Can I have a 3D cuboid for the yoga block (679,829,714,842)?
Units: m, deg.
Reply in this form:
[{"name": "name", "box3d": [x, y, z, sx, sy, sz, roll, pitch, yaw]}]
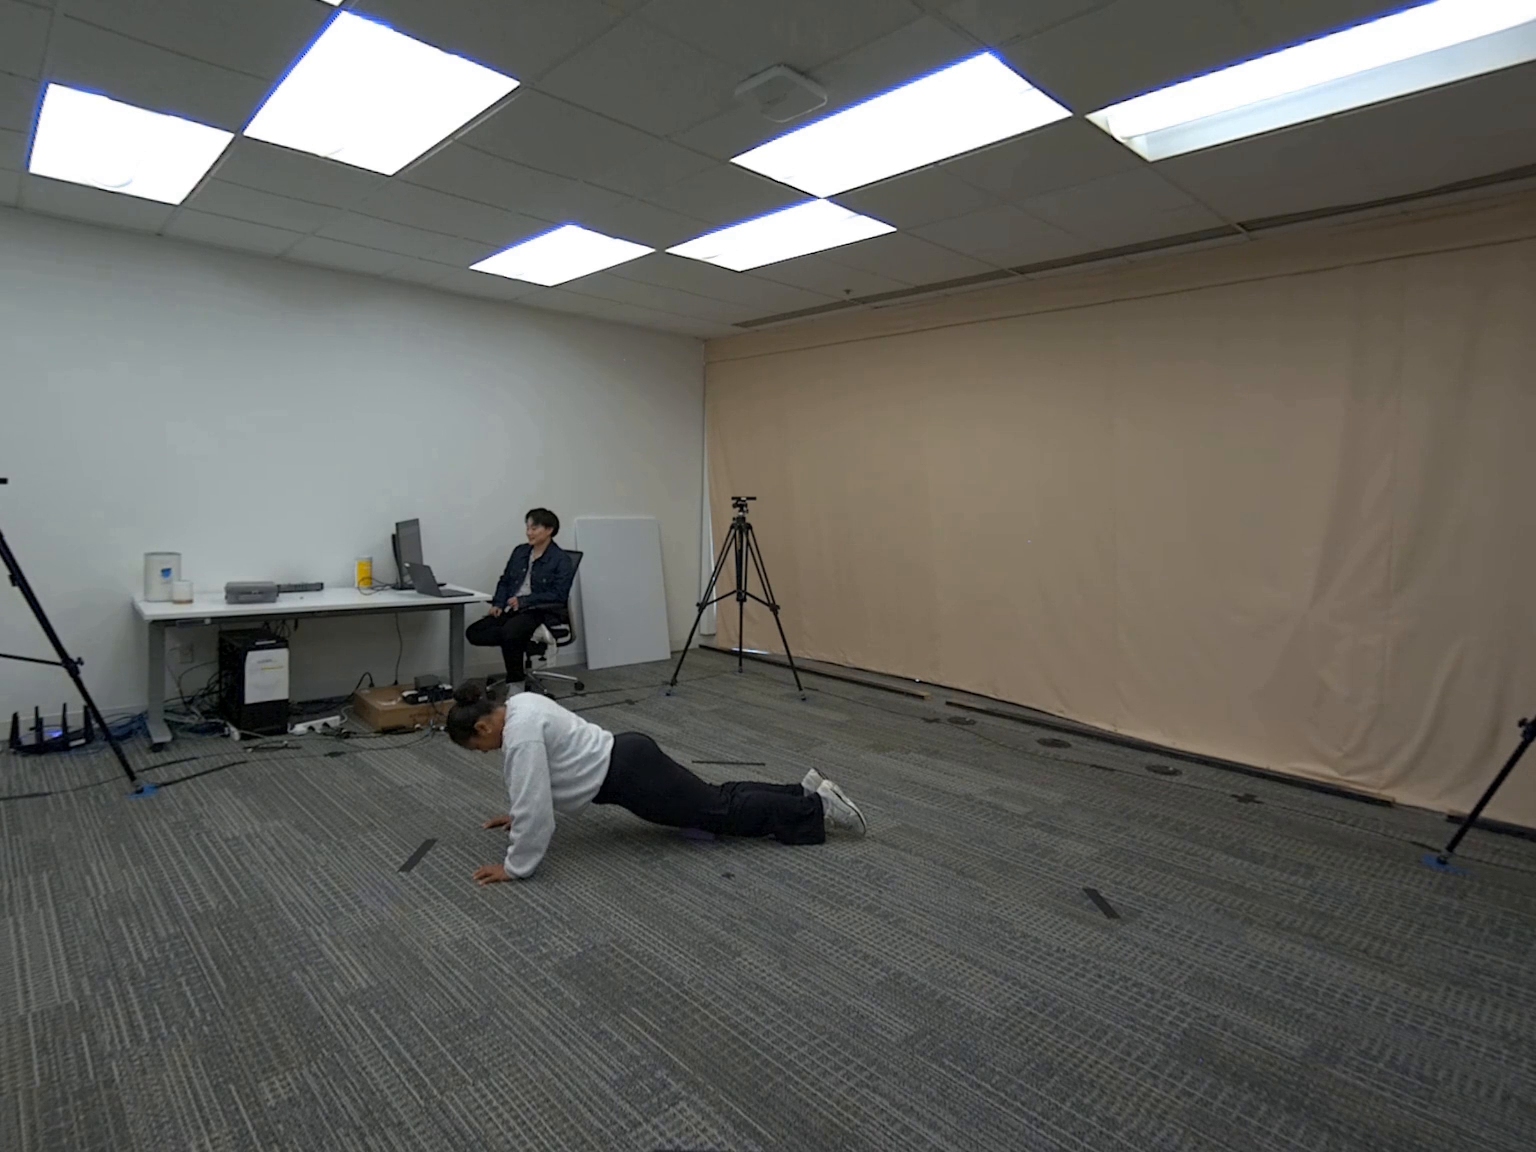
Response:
[{"name": "yoga block", "box3d": [-0.266, 1.022, 3.524, 0.150, 0.076, 0.228, 4, 4, 10]}]
